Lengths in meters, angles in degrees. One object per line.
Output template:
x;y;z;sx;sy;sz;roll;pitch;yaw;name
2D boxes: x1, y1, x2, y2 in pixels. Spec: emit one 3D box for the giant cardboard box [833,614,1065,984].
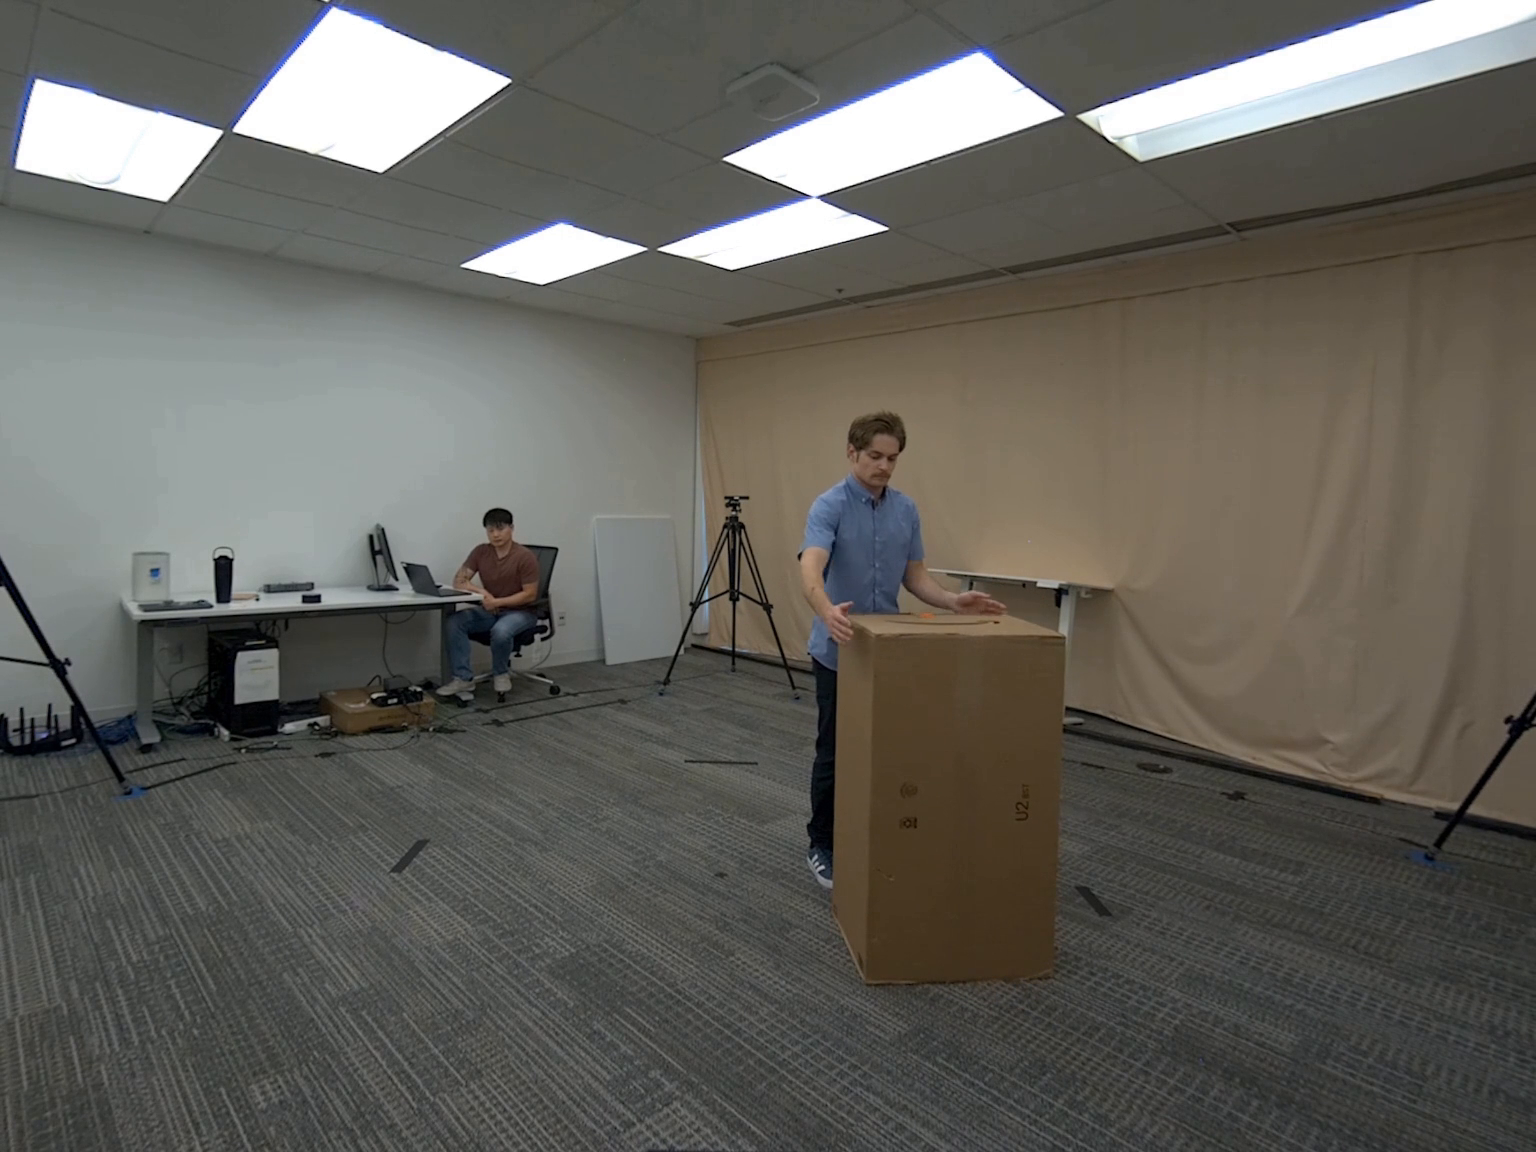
0.536;0.655;2.628;0.575;1.023;0.429;1;4;-6;giant cardboard box
